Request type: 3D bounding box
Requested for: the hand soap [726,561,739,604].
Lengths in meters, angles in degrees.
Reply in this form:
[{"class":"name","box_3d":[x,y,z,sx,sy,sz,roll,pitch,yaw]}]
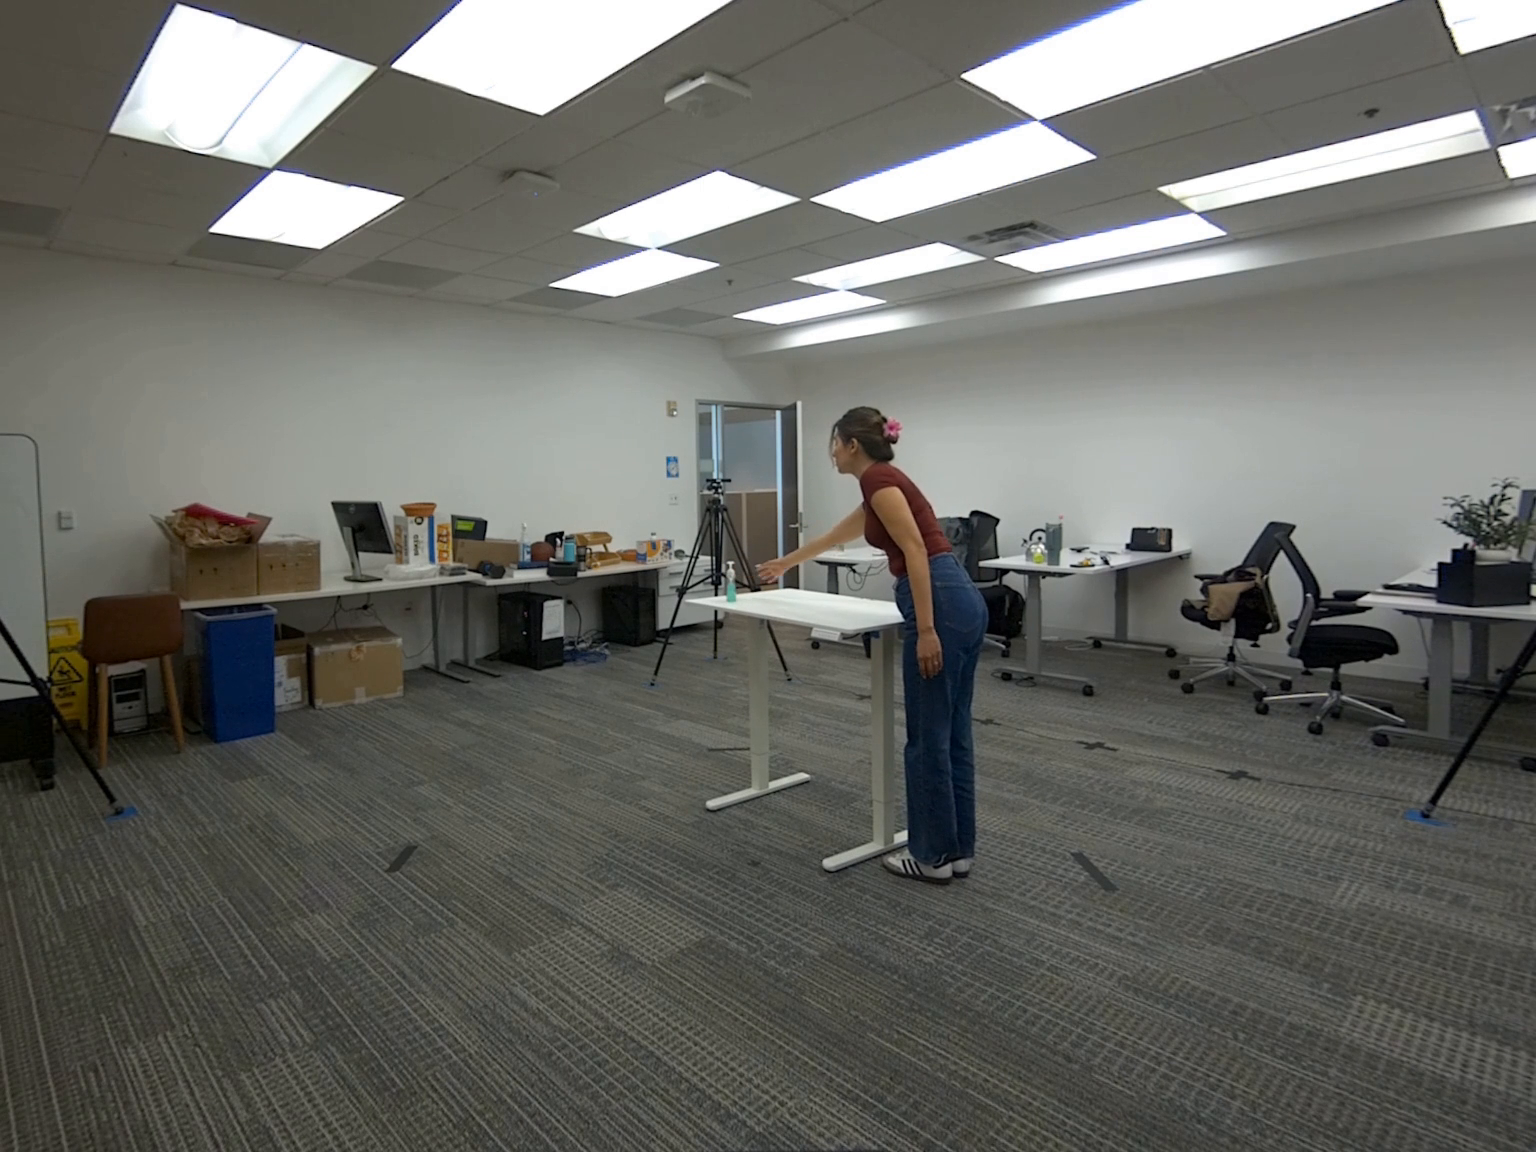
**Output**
[{"class":"hand soap","box_3d":[-0.152,0.025,3.617,0.043,0.168,0.085,-4,3,-1]}]
